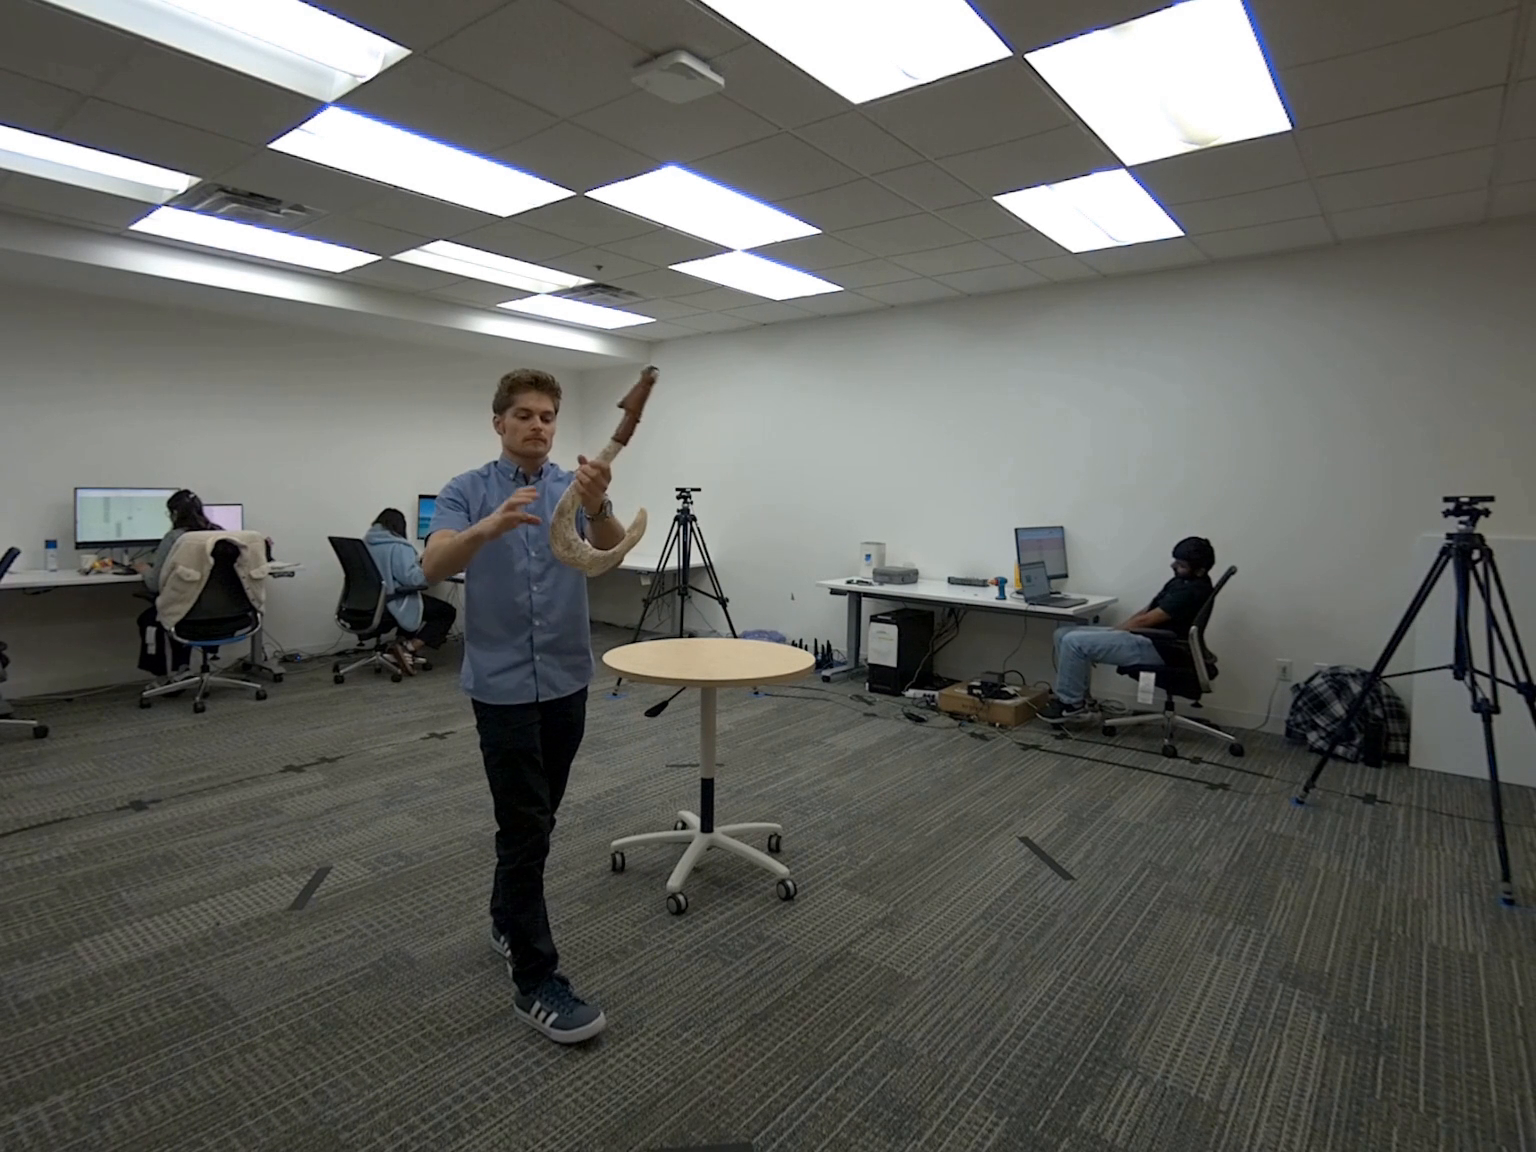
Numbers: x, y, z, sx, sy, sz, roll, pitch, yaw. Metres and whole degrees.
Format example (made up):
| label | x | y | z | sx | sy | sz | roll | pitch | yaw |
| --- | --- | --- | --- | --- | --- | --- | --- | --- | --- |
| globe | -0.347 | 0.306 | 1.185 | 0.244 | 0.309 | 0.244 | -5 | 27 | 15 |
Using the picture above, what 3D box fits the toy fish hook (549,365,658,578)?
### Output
| label | x | y | z | sx | sy | sz | roll | pitch | yaw |
| --- | --- | --- | --- | --- | --- | --- | --- | --- | --- |
| toy fish hook | -0.340 | -0.244 | 1.957 | 0.228 | 0.507 | 0.047 | 24 | -4 | 12 |
